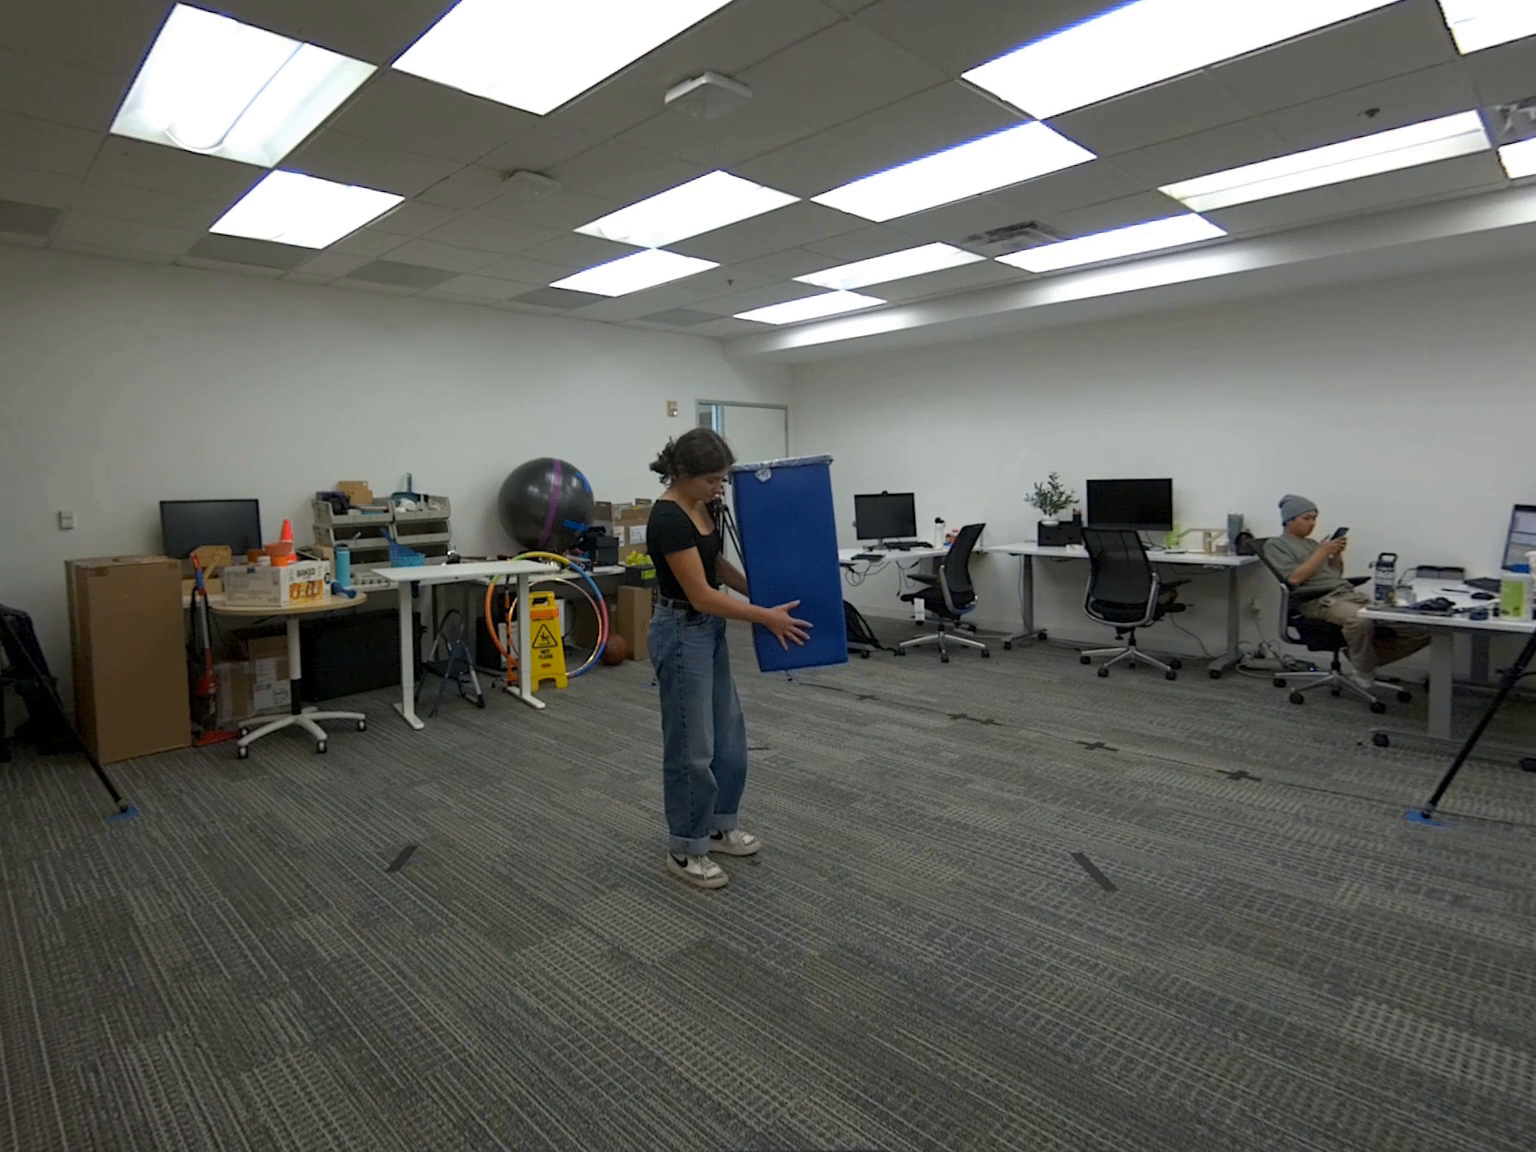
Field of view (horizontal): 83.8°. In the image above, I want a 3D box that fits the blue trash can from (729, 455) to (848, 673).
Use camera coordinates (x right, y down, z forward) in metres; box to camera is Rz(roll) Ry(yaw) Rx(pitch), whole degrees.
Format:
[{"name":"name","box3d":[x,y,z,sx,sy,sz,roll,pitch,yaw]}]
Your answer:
[{"name":"blue trash can","box3d":[0.074,-0.045,3.076,0.378,0.716,0.373,-6,-3,-1]}]
